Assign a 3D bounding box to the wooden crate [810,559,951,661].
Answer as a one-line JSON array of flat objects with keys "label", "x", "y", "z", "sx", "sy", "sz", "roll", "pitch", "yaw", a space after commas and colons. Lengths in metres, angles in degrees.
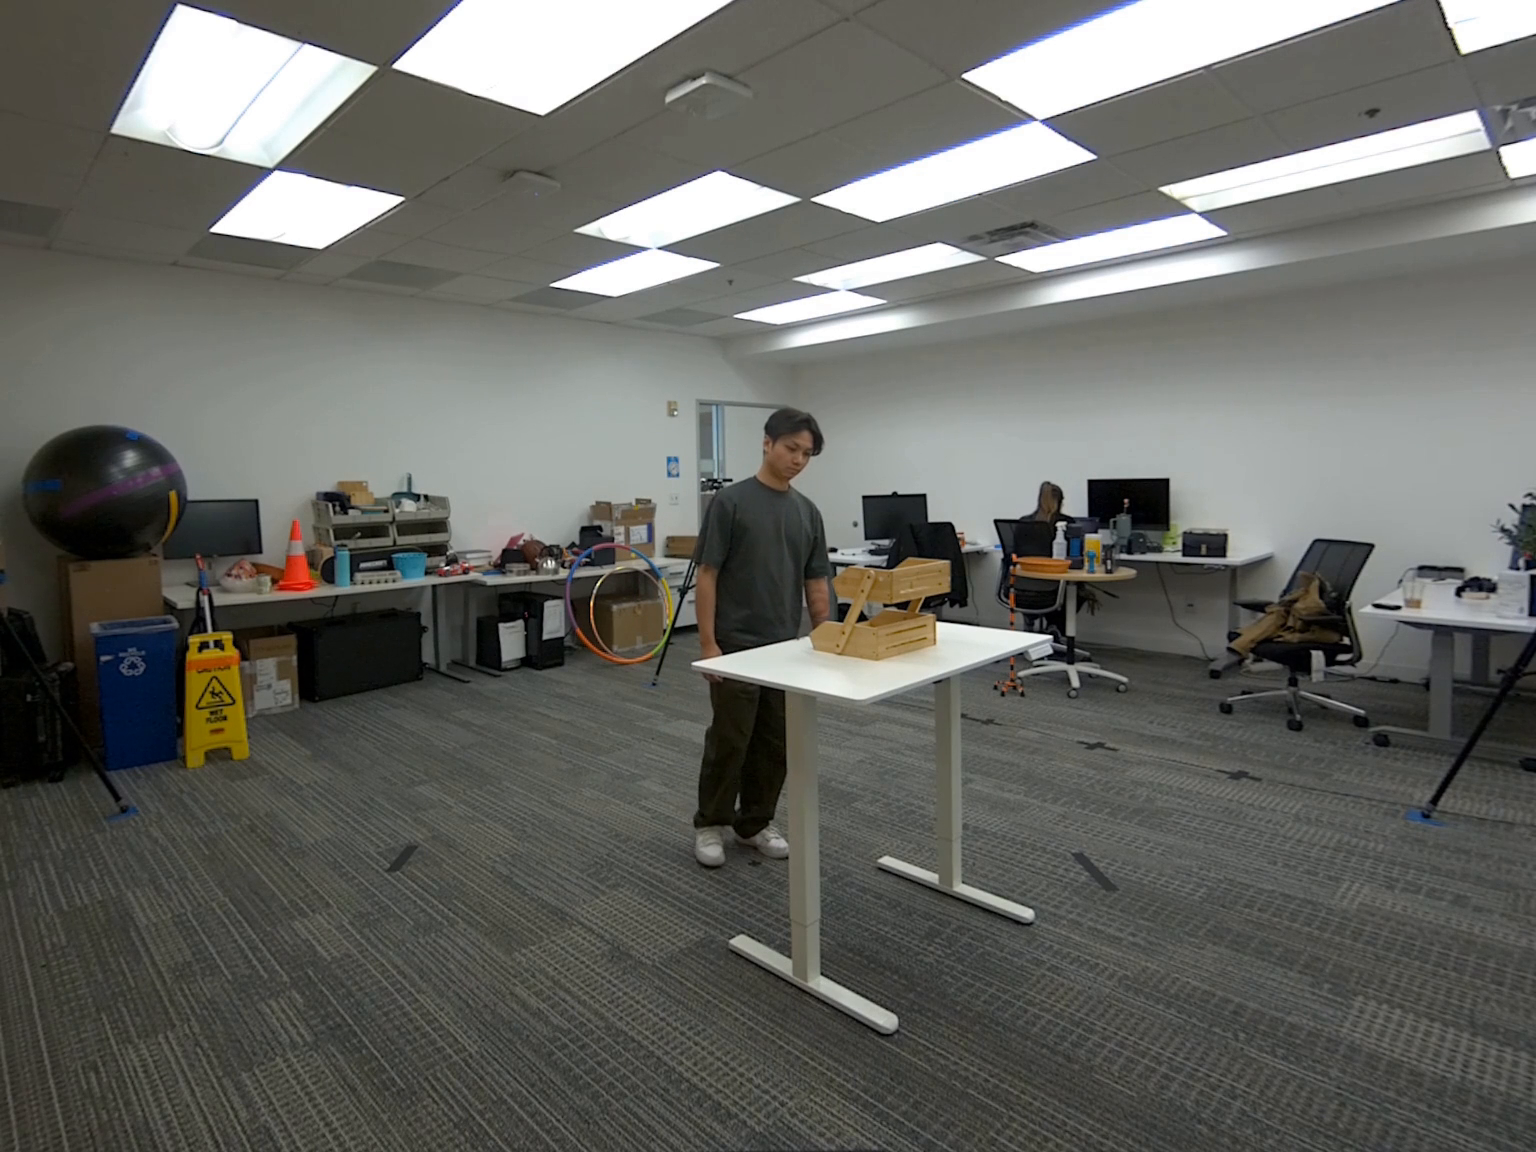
[{"label": "wooden crate", "x": 0.339, "y": 0.085, "z": 2.557, "sx": 0.311, "sy": 0.272, "sz": 0.316, "roll": 5, "pitch": 9, "yaw": 45}]
